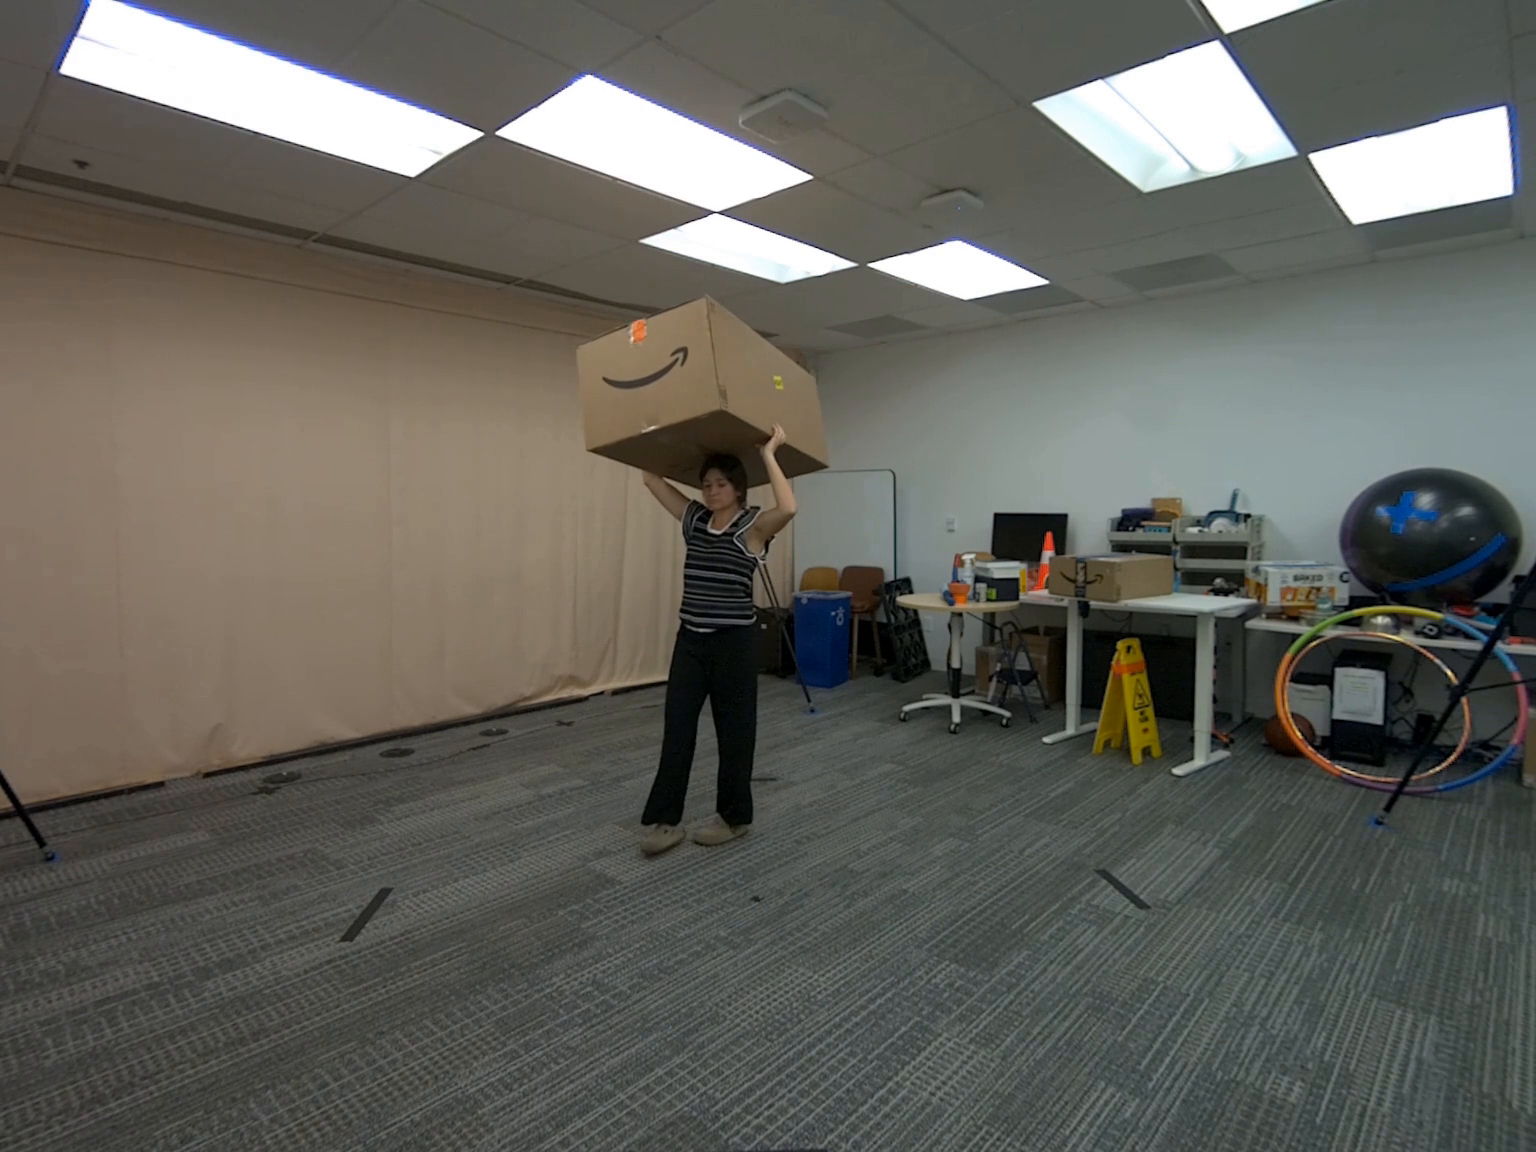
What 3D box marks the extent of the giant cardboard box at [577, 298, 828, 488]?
[{"bbox_3d":[-0.222,-0.670,3.443,0.590,0.429,0.996,-12,-10,25],"label":"giant cardboard box"}]
